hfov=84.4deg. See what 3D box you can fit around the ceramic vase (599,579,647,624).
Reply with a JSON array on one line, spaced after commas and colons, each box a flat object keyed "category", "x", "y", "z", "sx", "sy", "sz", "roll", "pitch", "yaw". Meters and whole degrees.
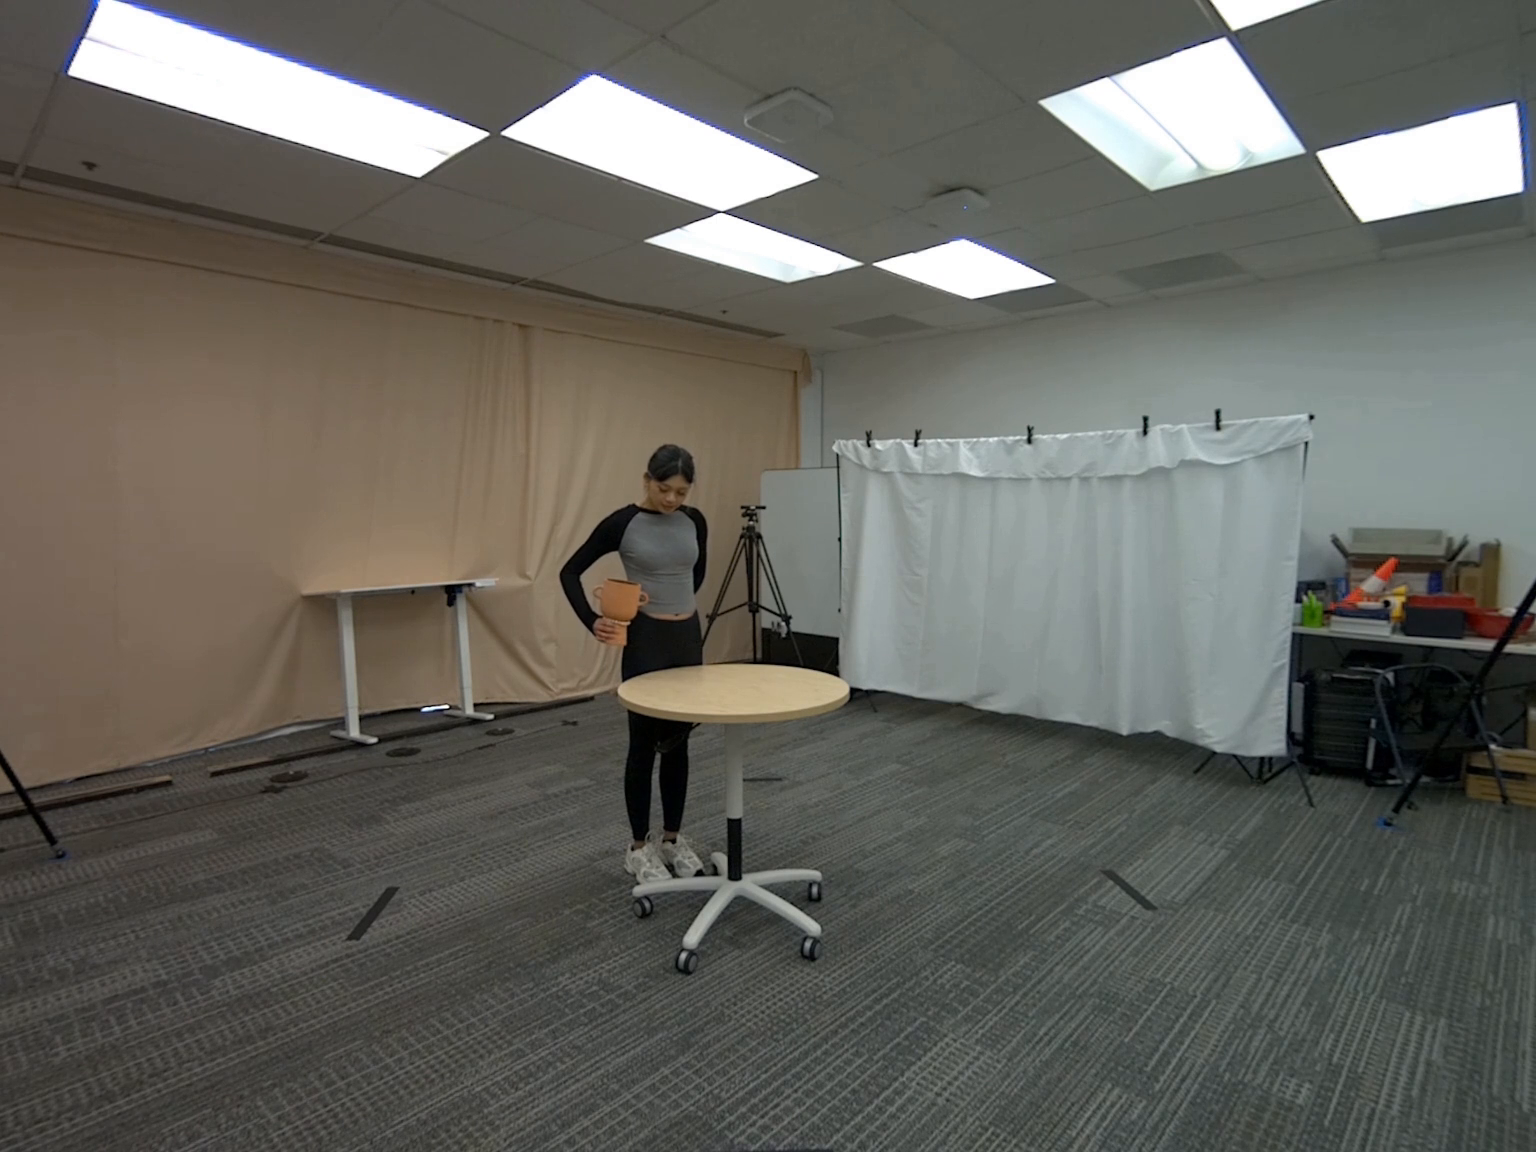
[{"category": "ceramic vase", "x": -0.527, "y": 0.128, "z": 2.982, "sx": 0.164, "sy": 0.219, "sz": 0.130, "roll": 10, "pitch": 3, "yaw": 31}]
